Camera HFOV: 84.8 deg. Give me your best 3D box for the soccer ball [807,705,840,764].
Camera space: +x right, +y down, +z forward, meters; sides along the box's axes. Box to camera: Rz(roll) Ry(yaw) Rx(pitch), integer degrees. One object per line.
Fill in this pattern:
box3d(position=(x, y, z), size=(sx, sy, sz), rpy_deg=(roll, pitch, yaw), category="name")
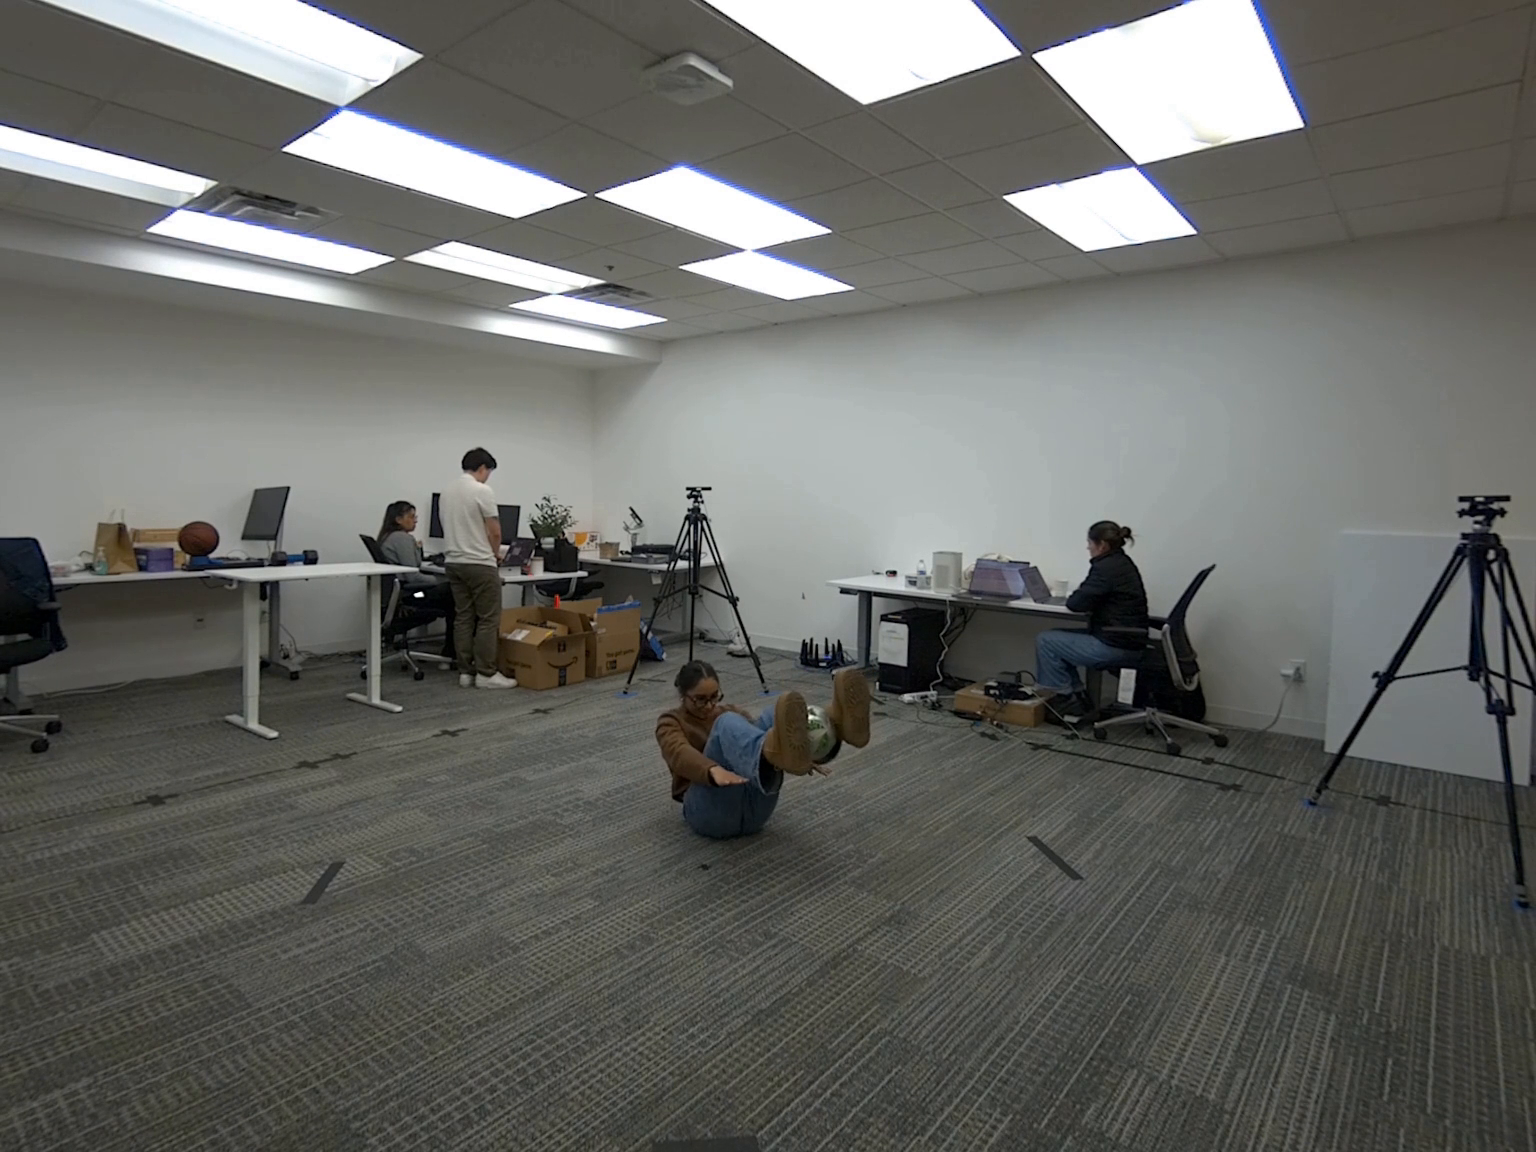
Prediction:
box3d(position=(0.144, 0.562, 3.006), size=(0.187, 0.187, 0.188), rpy_deg=(1, 4, -2), category="soccer ball")
